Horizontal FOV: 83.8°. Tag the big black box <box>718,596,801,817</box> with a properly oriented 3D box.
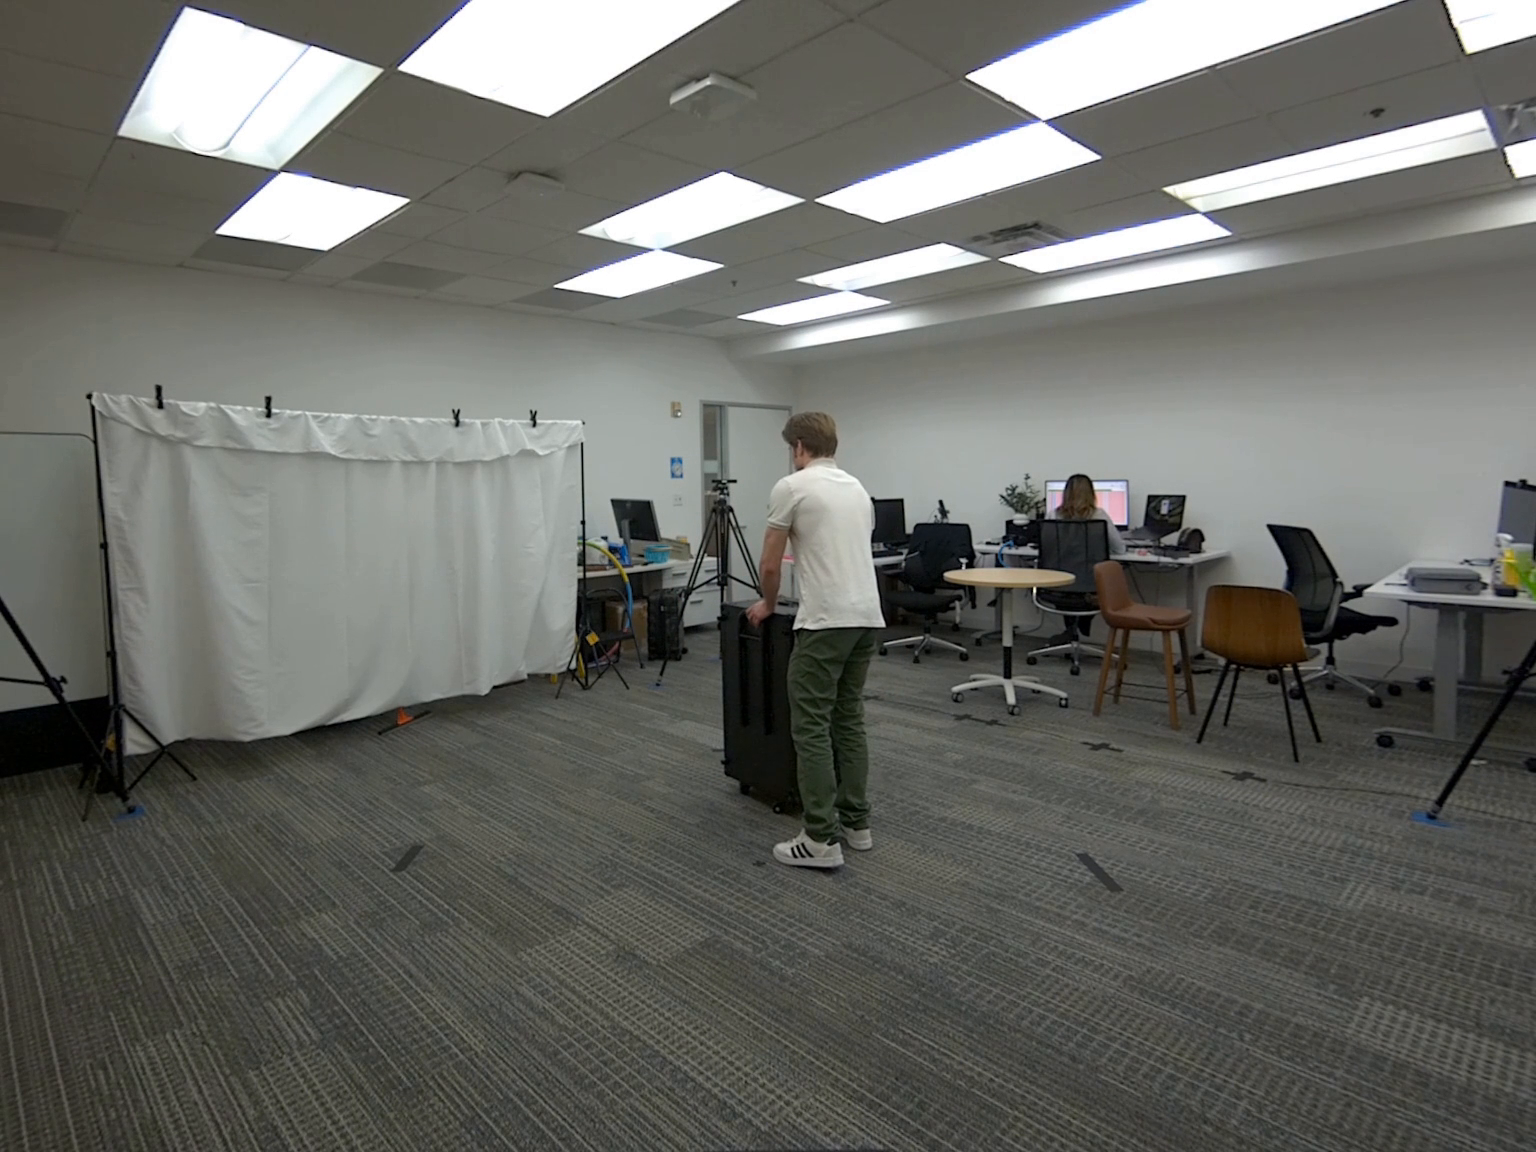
[{"bbox_3d":[0.084,0.559,3.738,0.375,0.866,0.539,-4,5,-37],"label":"big black box"}]
